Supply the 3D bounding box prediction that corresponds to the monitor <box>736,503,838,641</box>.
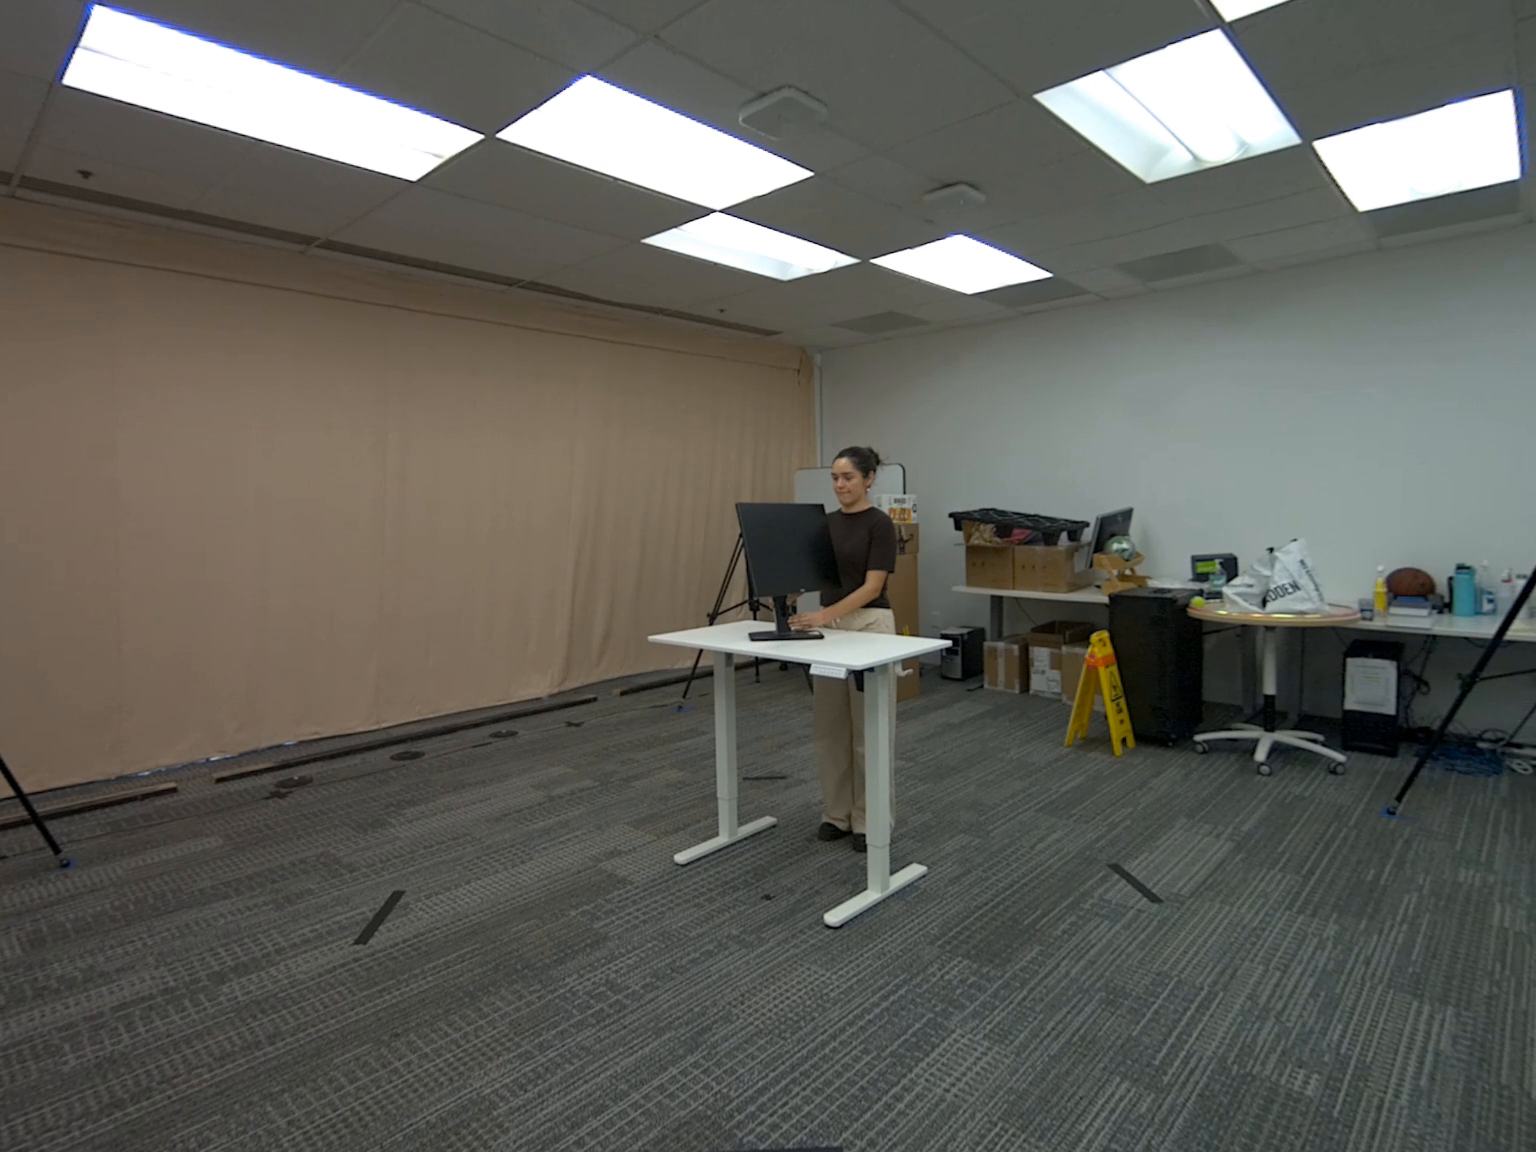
[{"bbox_3d":[0.077,-0.018,3.241,0.193,0.522,0.523,3,4,36],"label":"monitor"}]
